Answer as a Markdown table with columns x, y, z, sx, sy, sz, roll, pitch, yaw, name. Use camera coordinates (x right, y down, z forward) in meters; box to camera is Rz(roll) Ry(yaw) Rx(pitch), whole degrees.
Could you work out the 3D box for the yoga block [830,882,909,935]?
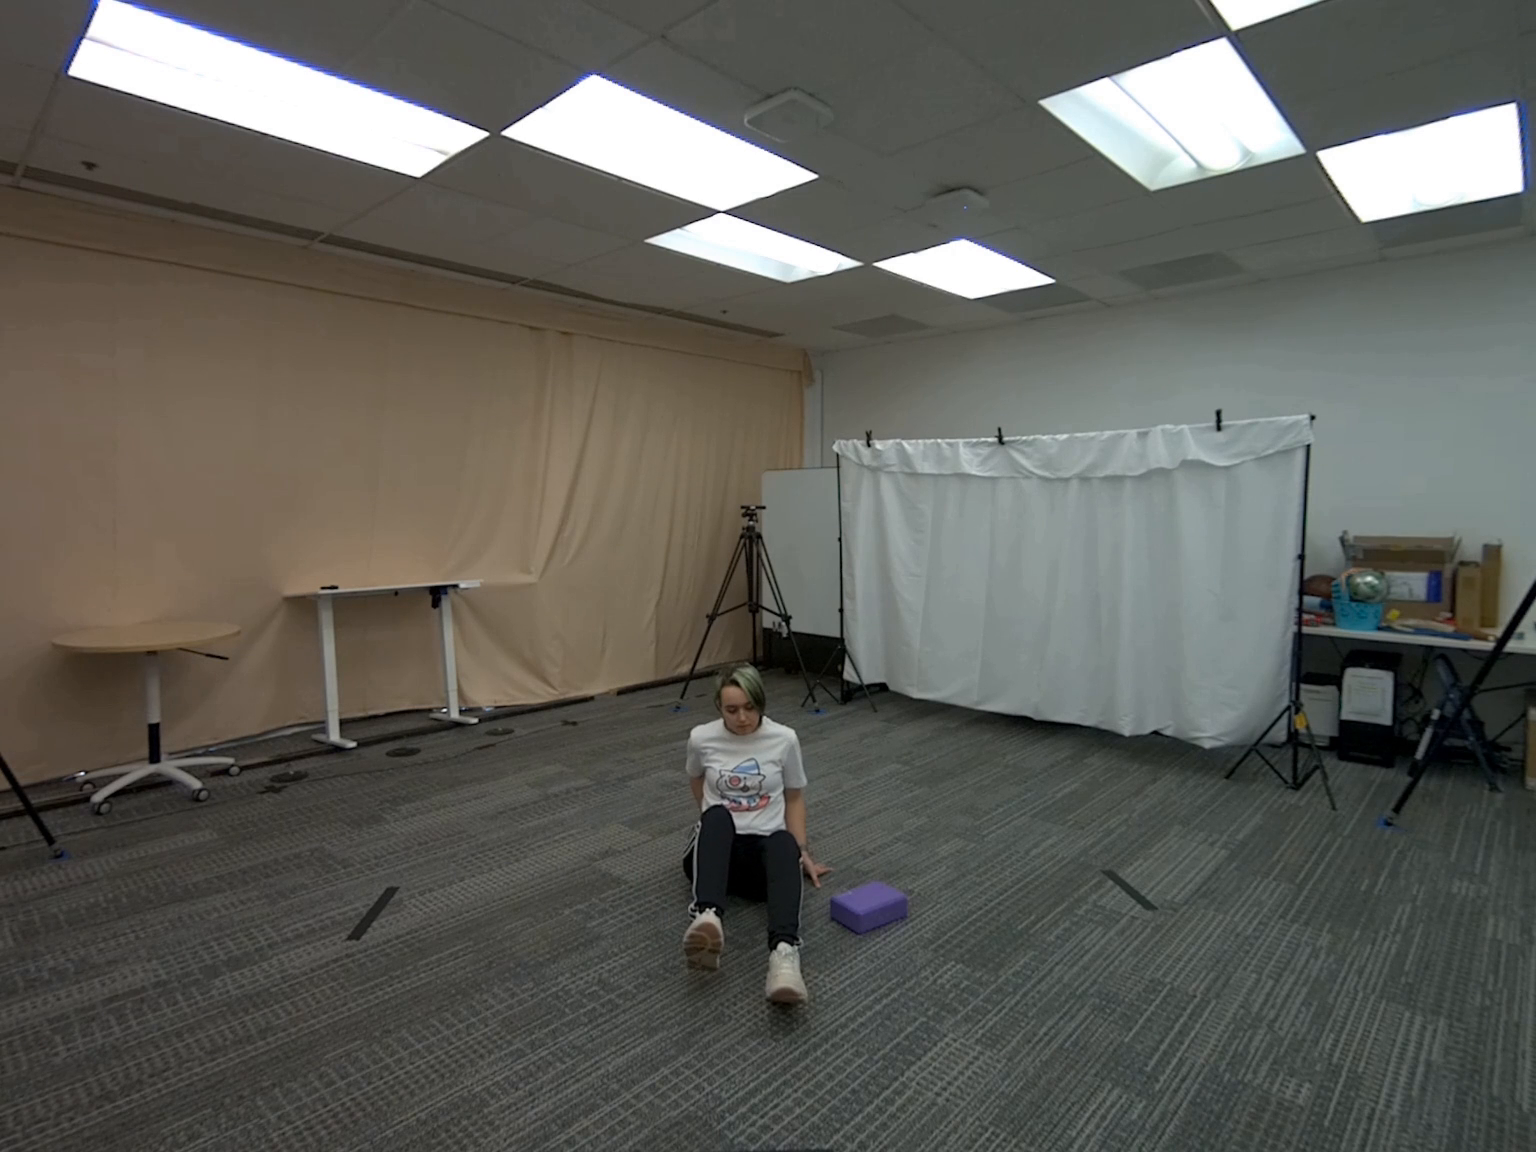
| x | y | z | sx | sy | sz | roll | pitch | yaw | name |
| --- | --- | --- | --- | --- | --- | --- | --- | --- | --- |
| 0.347 | 1.118 | 2.832 | 0.223 | 0.076 | 0.154 | -3 | 6 | -35 | yoga block |
